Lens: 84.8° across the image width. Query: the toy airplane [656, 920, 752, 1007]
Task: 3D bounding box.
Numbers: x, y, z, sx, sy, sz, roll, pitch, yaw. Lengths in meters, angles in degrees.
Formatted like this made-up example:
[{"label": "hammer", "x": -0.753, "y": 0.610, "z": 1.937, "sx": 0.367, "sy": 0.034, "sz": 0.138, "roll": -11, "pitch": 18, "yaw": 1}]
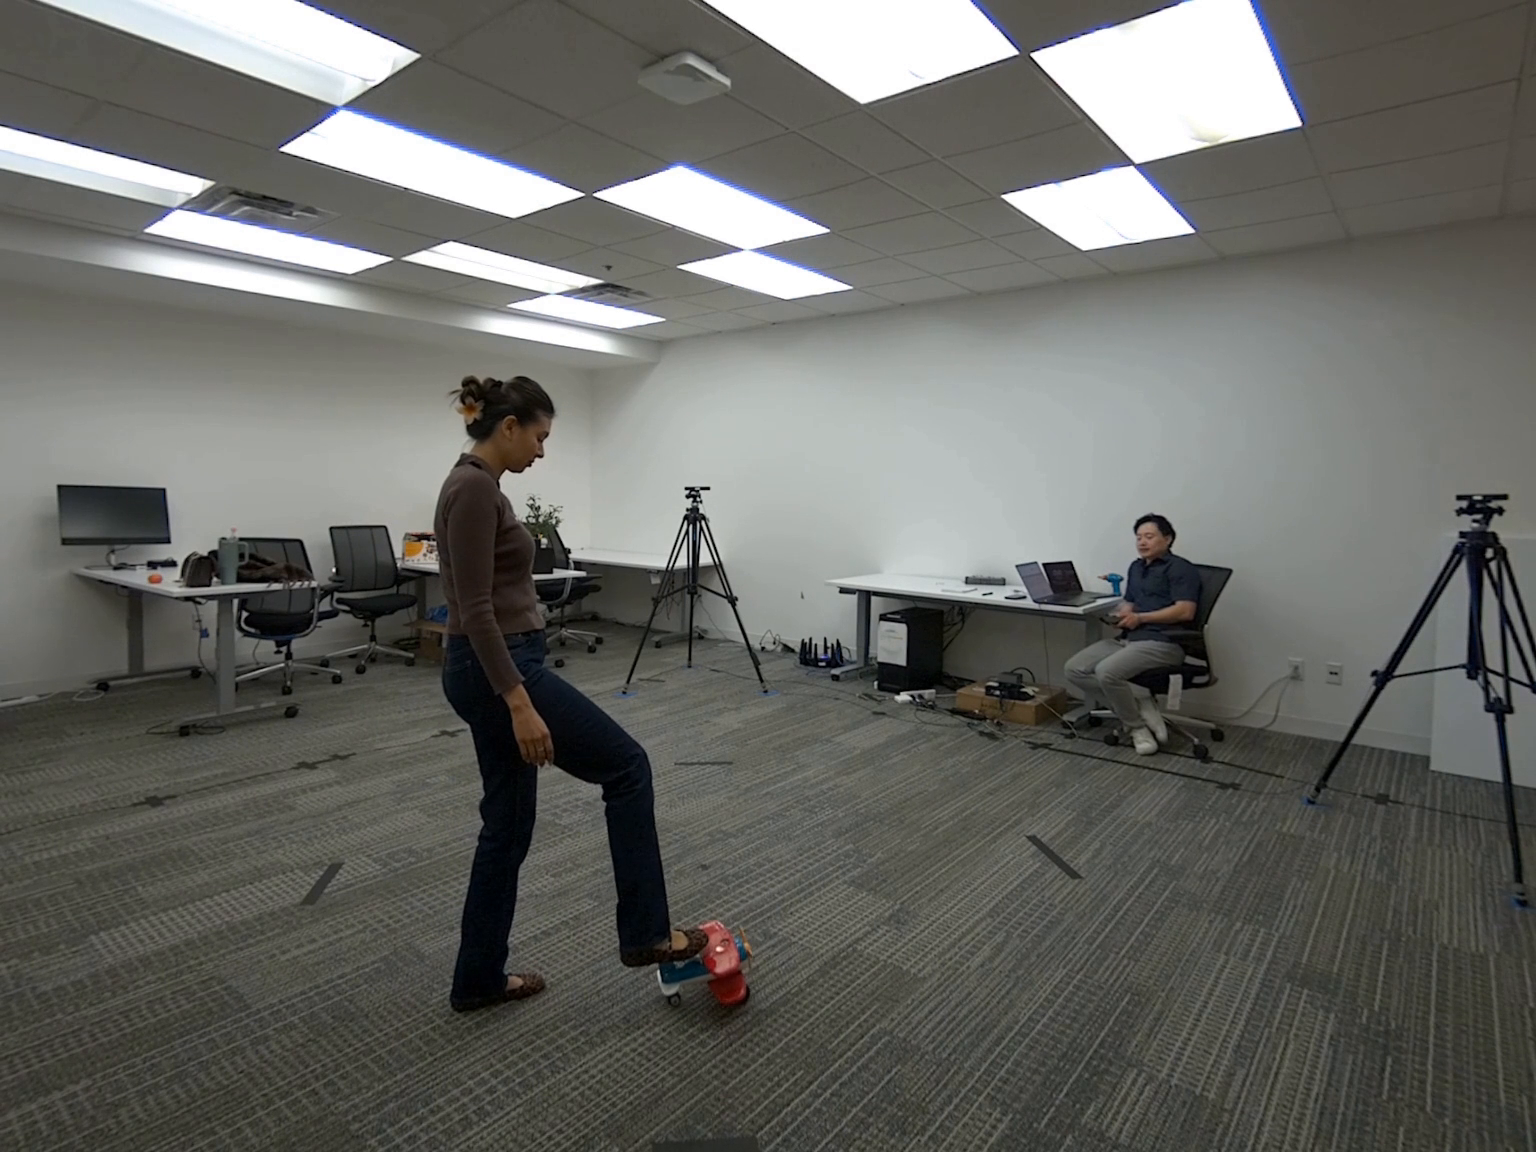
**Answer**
[{"label": "toy airplane", "x": -0.171, "y": 1.075, "z": 2.302, "sx": 0.251, "sy": 0.156, "sz": 0.260, "roll": -3, "pitch": 7, "yaw": -43}]
